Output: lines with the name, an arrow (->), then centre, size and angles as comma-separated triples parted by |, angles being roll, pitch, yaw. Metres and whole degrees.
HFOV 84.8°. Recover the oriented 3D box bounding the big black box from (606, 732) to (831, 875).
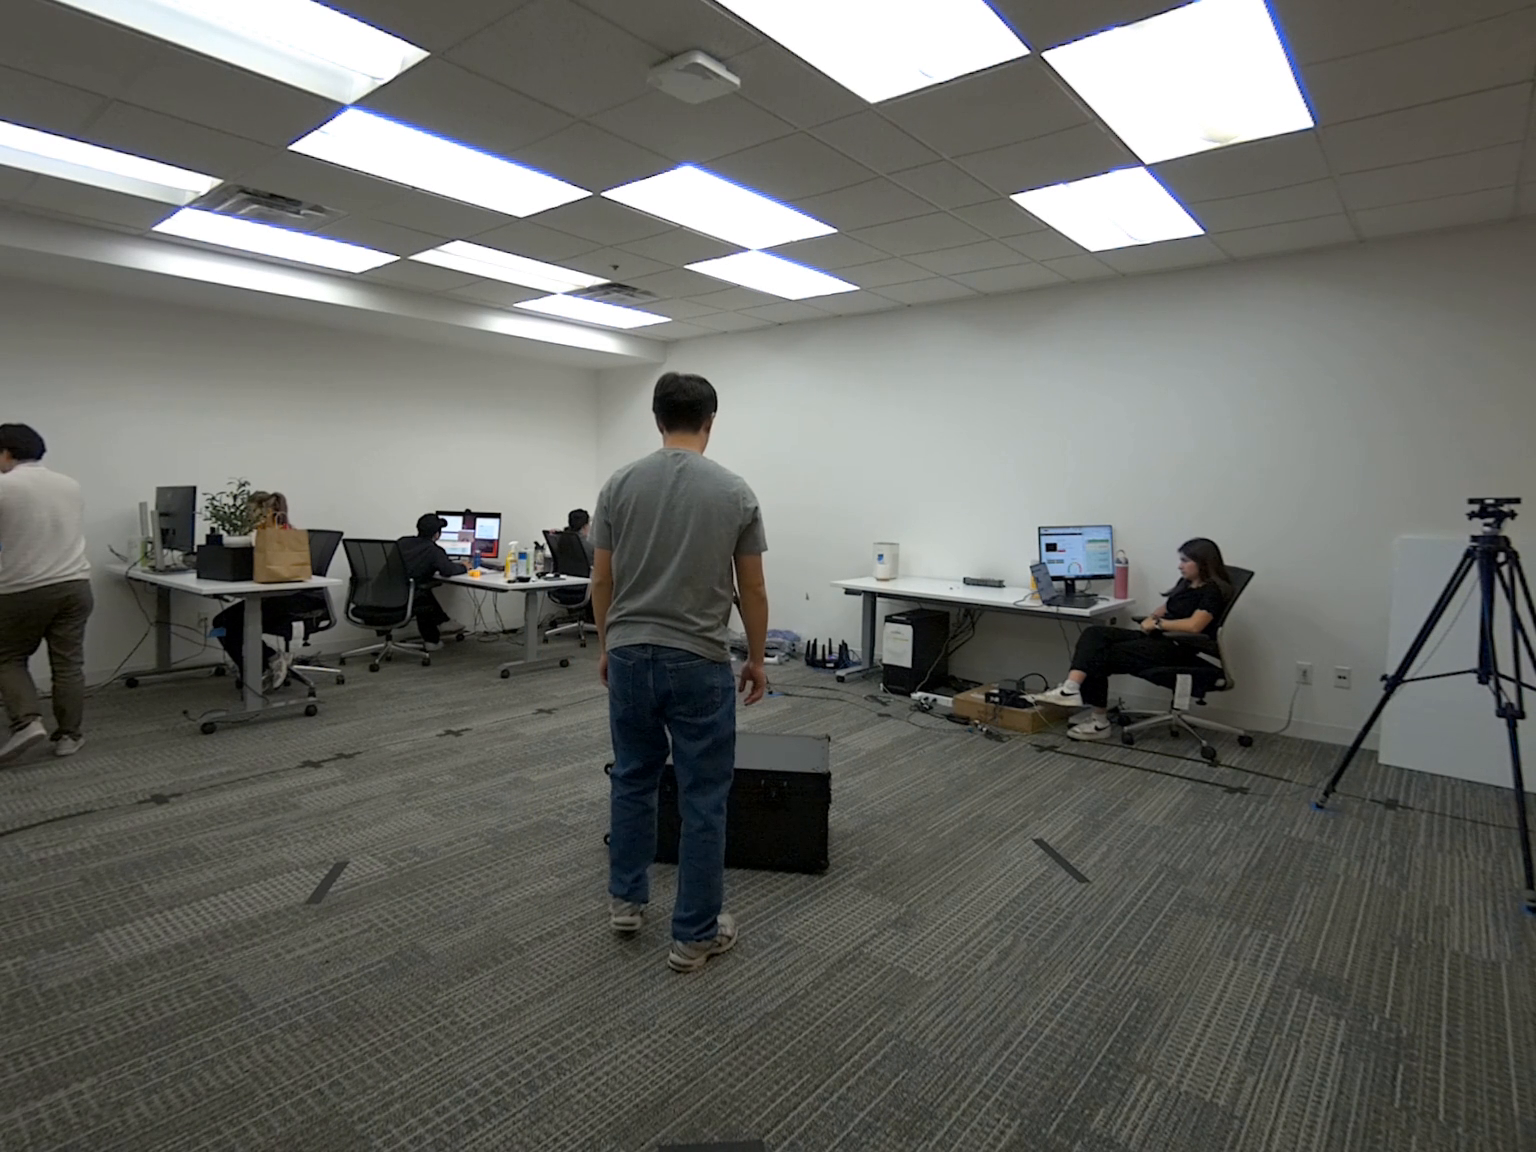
big black box -> -0.194, 0.852, 3.338 | 0.868, 0.395, 0.519 | 1, 5, 6
